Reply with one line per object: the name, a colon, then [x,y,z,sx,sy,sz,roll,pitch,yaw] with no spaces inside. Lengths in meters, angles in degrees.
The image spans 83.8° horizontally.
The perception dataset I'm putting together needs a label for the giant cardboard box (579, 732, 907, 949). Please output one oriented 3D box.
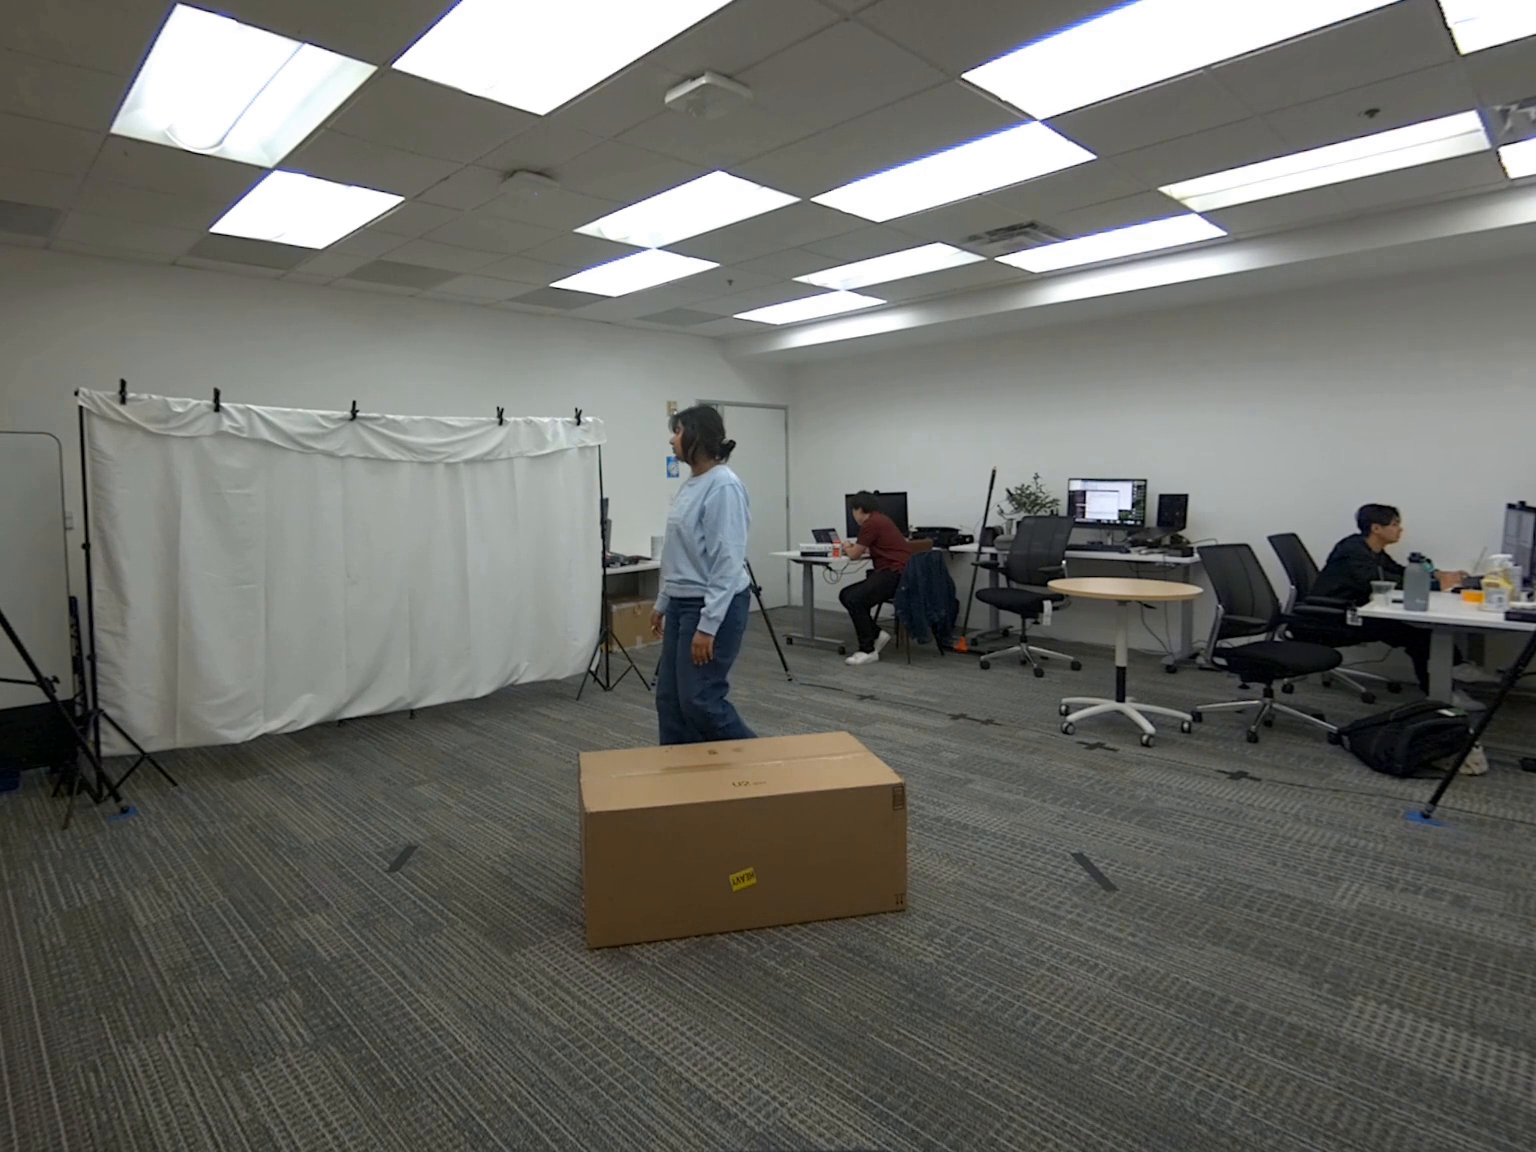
giant cardboard box: [-0.118,0.854,2.914,1.014,0.424,0.586,-2,5,-12]
